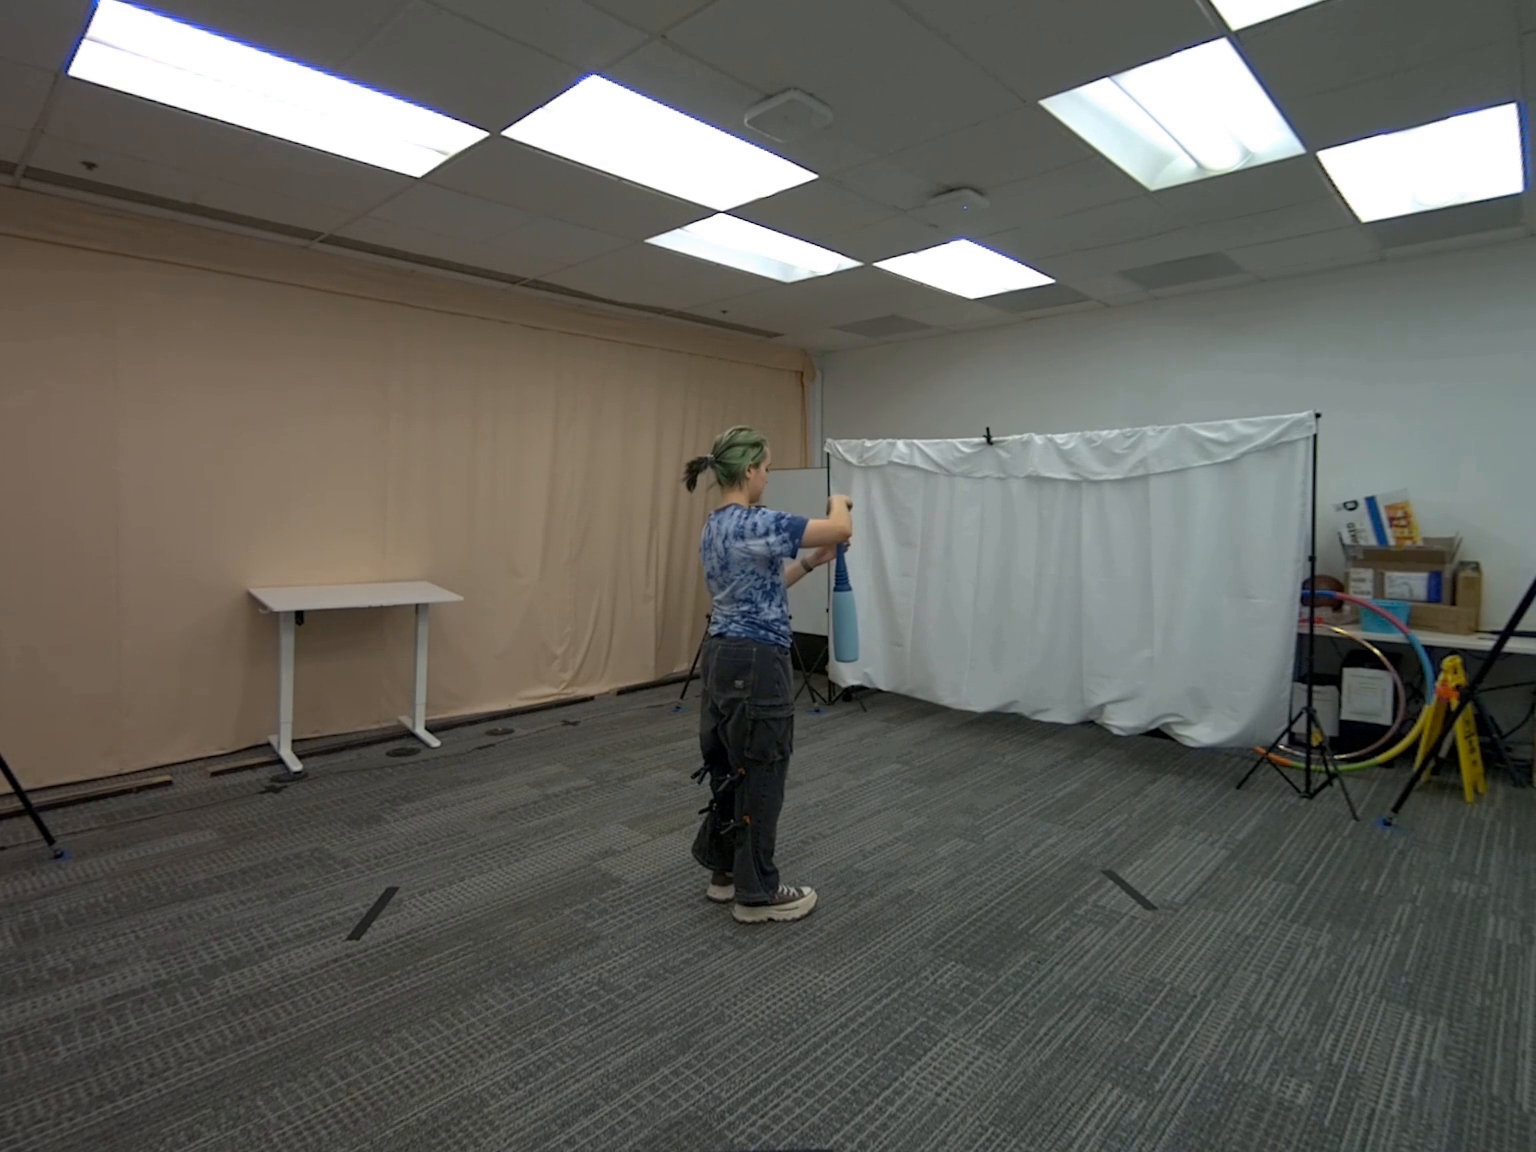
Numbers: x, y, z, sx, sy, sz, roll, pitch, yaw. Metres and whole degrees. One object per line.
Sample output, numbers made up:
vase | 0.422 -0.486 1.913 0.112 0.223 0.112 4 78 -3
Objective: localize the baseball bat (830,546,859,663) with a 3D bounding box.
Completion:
baseball bat | 0.262 0.031 2.958 0.089 0.542 0.089 -3 2 -2
